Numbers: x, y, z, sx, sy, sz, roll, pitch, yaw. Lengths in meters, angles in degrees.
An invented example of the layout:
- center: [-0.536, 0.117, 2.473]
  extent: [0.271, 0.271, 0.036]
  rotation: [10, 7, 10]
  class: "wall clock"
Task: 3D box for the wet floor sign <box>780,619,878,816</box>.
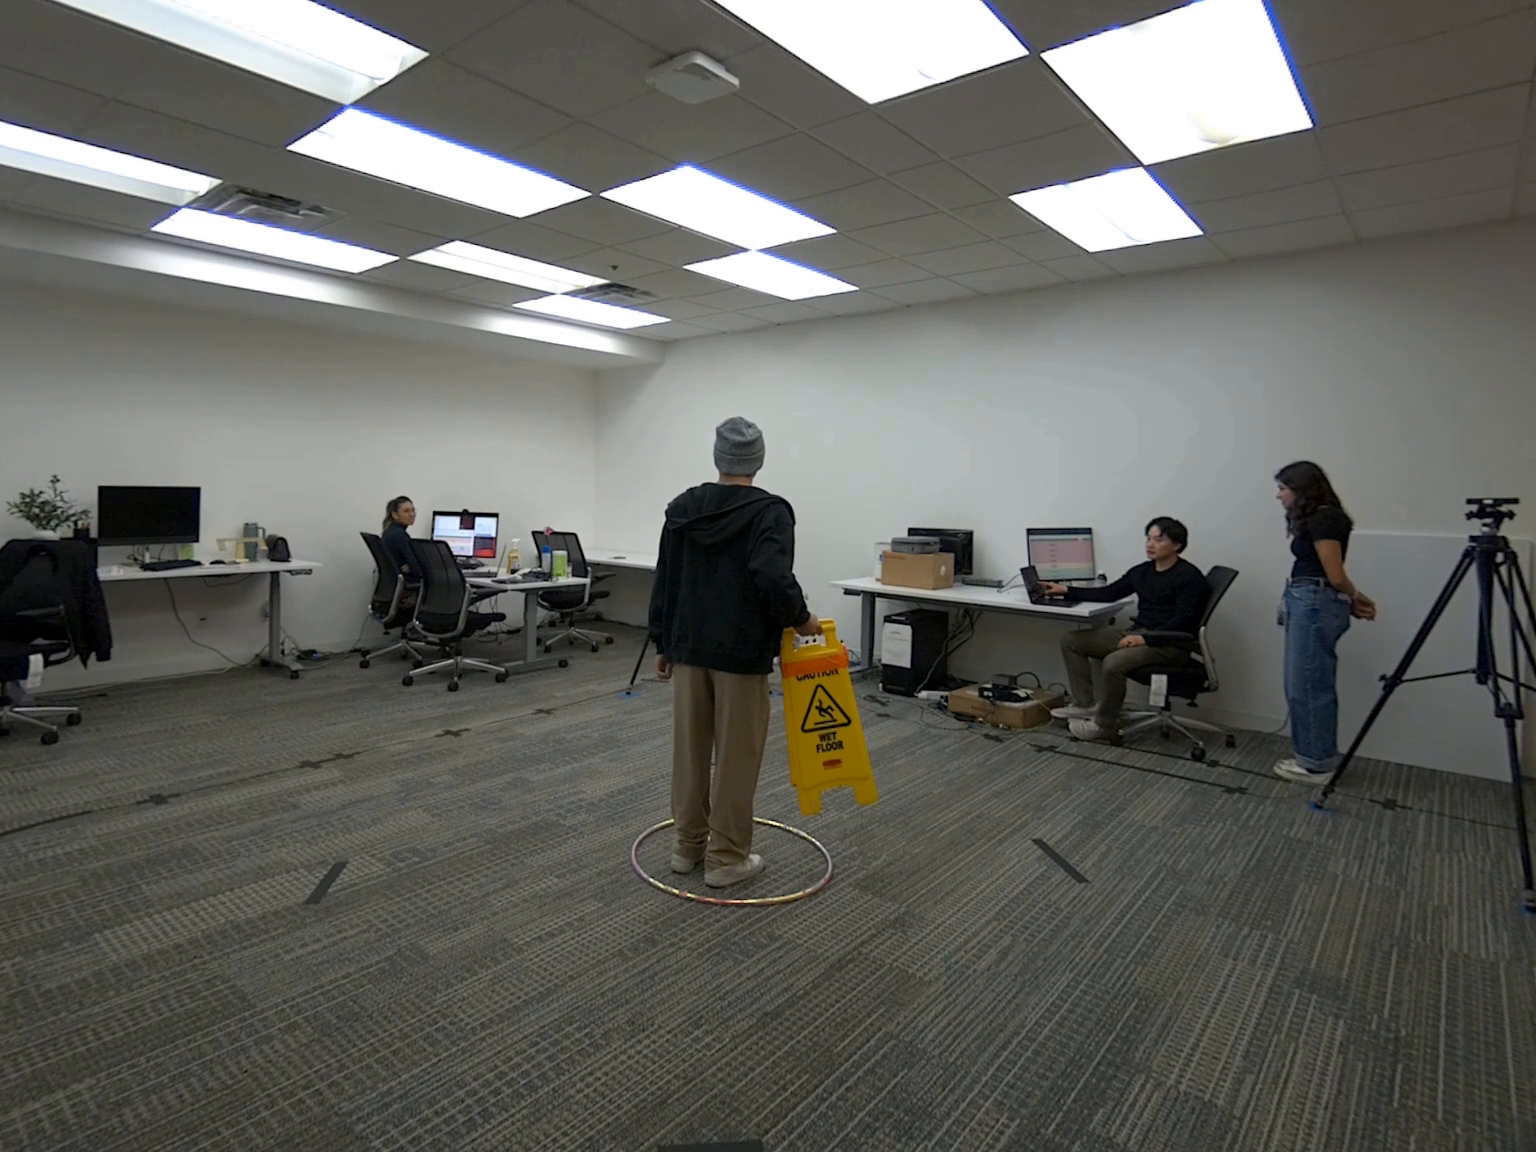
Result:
- center: [0.174, 0.477, 3.064]
  extent: [0.280, 0.641, 0.294]
  rotation: [-7, 8, -7]
  class: "wet floor sign"
